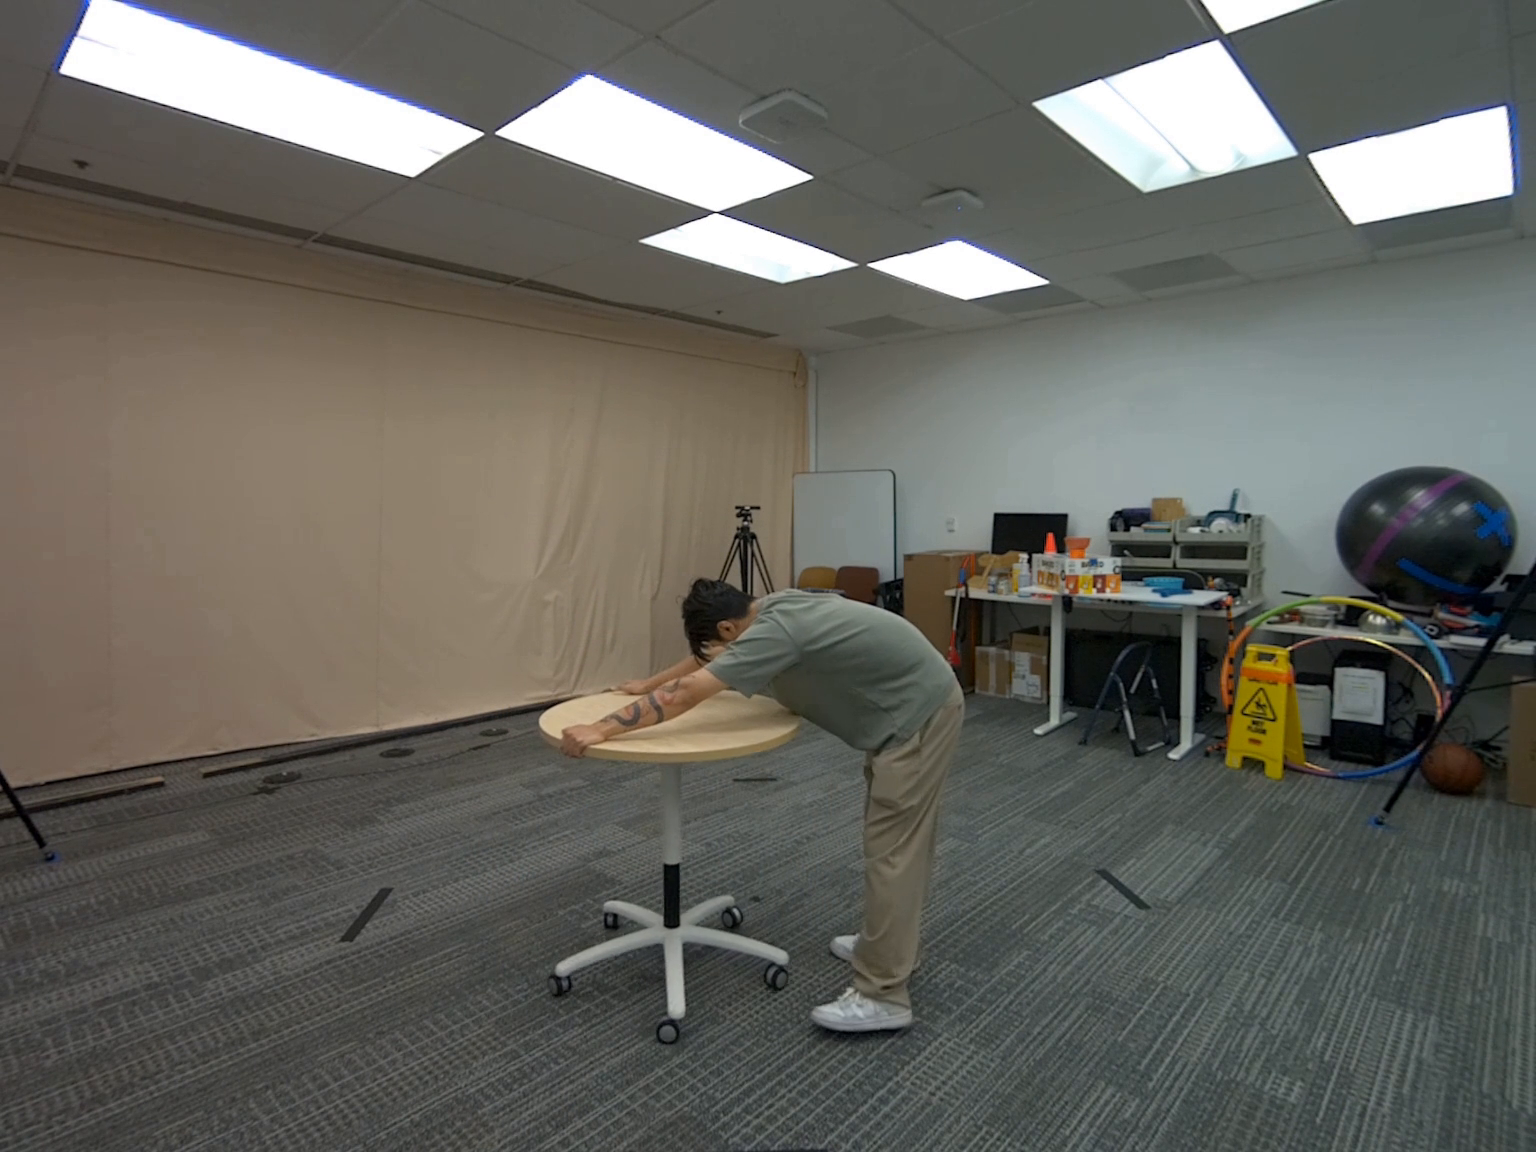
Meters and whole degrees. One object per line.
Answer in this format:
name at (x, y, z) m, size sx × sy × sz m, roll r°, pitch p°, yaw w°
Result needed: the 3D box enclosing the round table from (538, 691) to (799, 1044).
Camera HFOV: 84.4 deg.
round table at (-0.292, 0.801, 2.495) m, size 0.784 × 0.785 × 0.788 m, roll 0°, pitch 3°, yaw -2°
